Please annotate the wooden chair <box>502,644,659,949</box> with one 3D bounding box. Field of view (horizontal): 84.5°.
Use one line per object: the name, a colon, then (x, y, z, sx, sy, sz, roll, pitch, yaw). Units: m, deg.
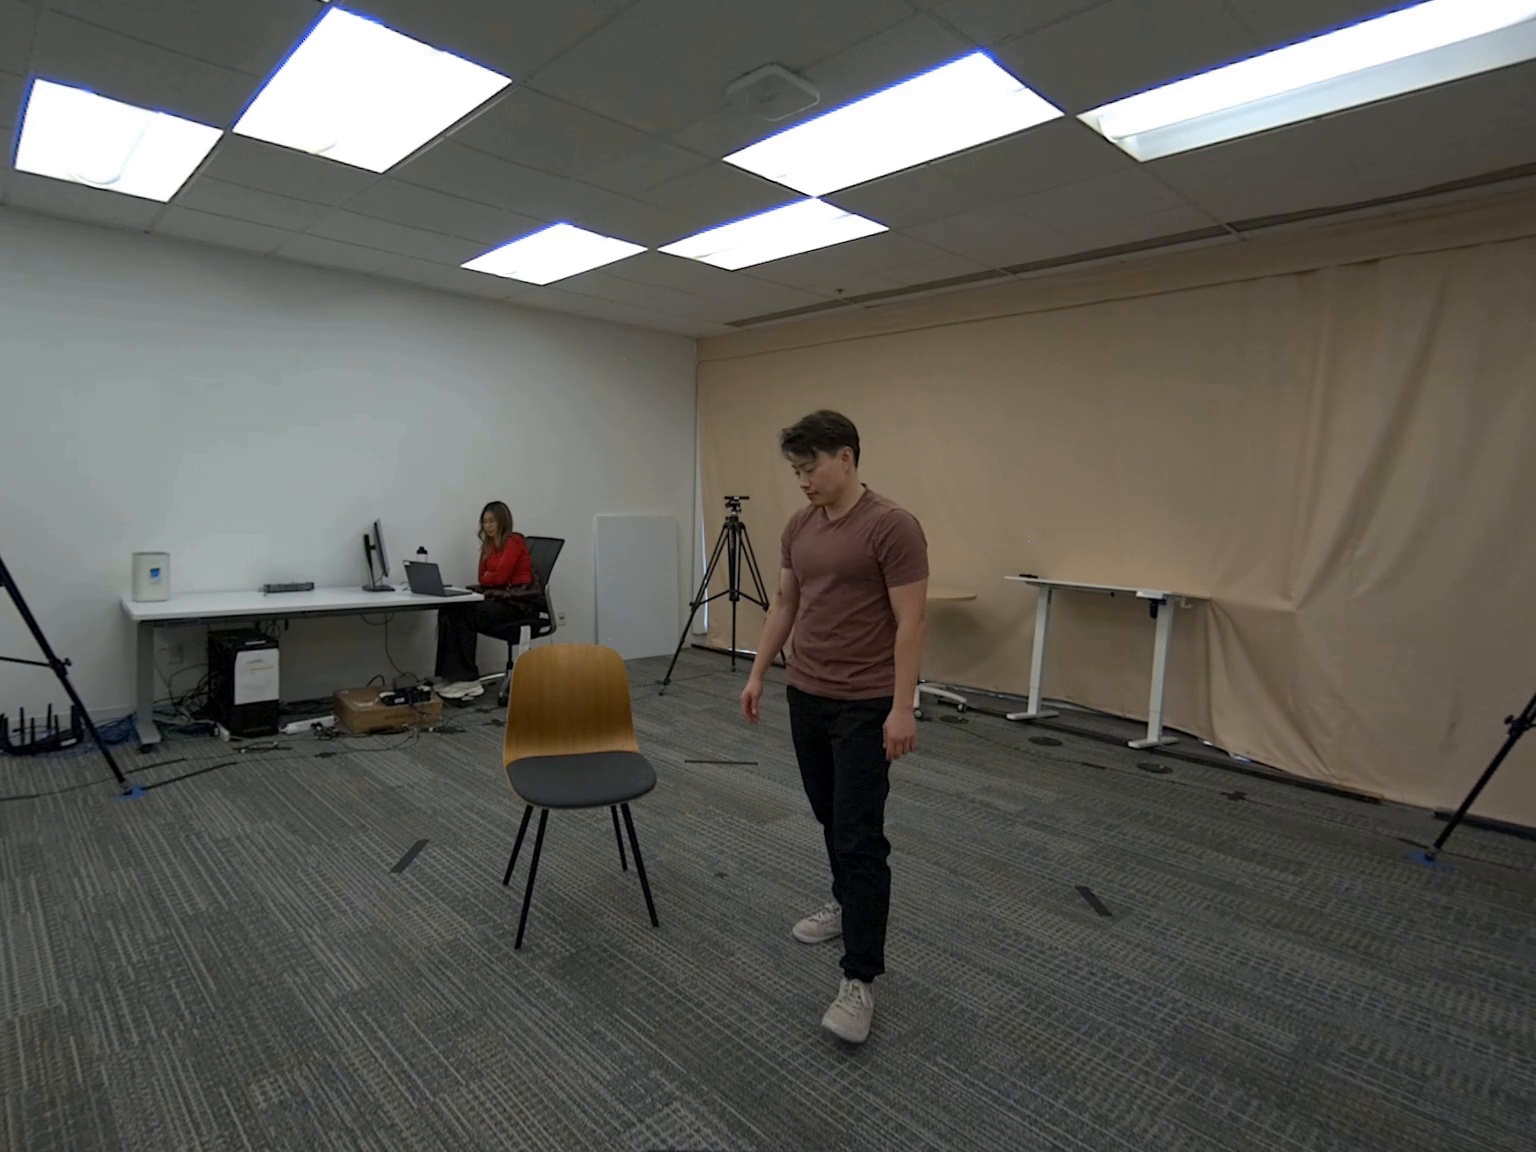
wooden chair: (-0.632, 0.692, 2.811, 0.470, 0.878, 0.531, 0, 0, -22)
